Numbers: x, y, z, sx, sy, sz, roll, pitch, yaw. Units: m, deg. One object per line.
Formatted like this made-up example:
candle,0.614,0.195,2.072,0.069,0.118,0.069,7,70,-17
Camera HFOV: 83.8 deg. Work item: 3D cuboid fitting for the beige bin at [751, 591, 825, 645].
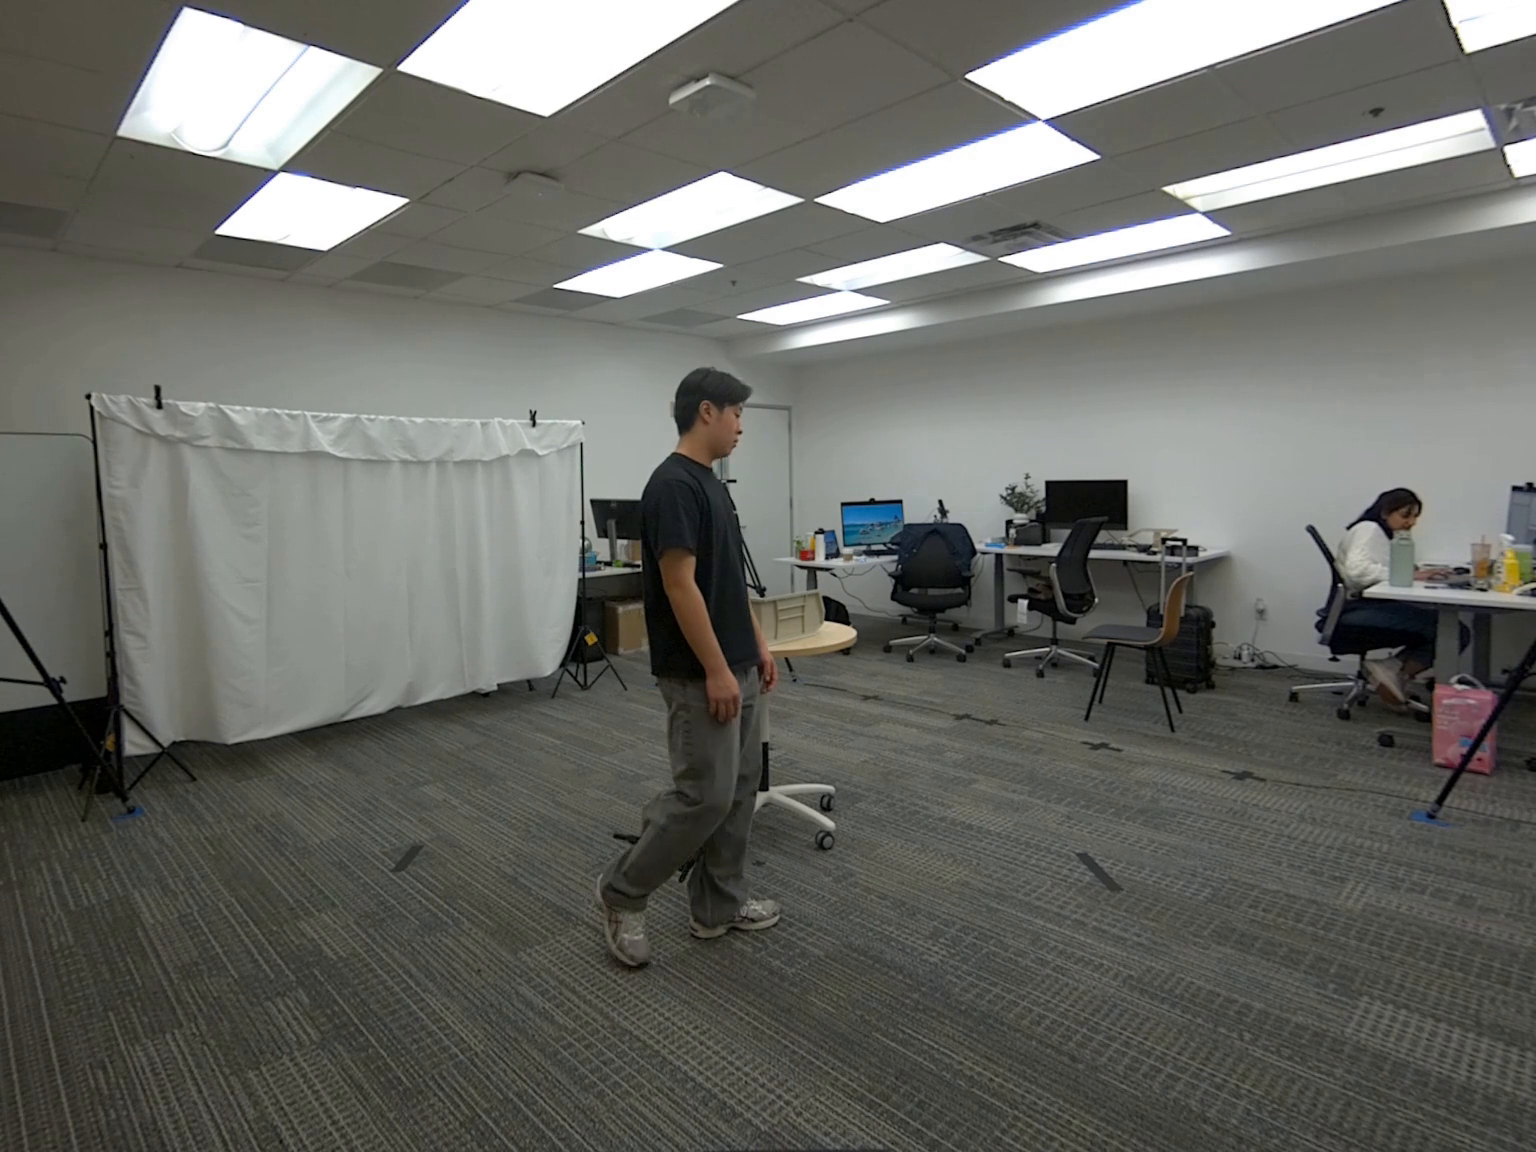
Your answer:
beige bin,-0.052,0.145,3.375,0.435,0.188,0.368,5,10,42
